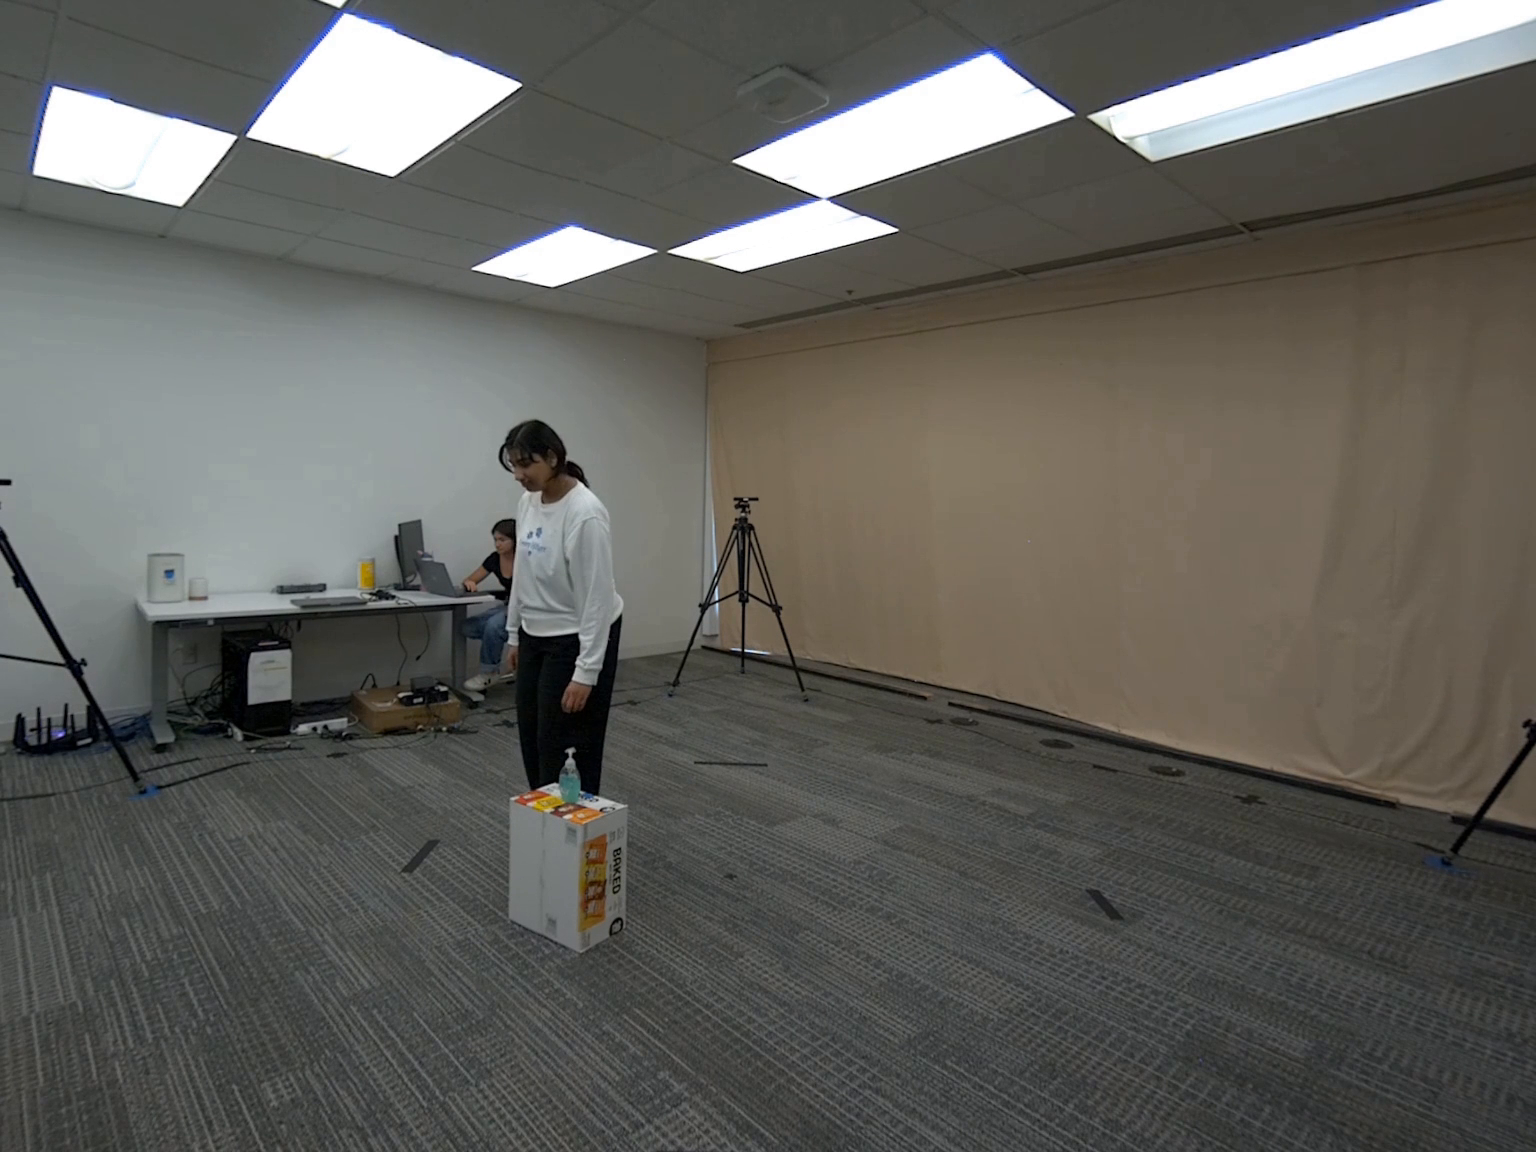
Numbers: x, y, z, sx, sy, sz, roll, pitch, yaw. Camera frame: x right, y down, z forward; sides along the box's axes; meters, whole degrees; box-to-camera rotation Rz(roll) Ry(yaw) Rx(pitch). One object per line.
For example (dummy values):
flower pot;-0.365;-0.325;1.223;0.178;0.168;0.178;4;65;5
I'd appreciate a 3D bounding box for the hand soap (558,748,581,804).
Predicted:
hand soap;-0.637;0.642;2.732;0.086;0.168;0.043;4;3;22
